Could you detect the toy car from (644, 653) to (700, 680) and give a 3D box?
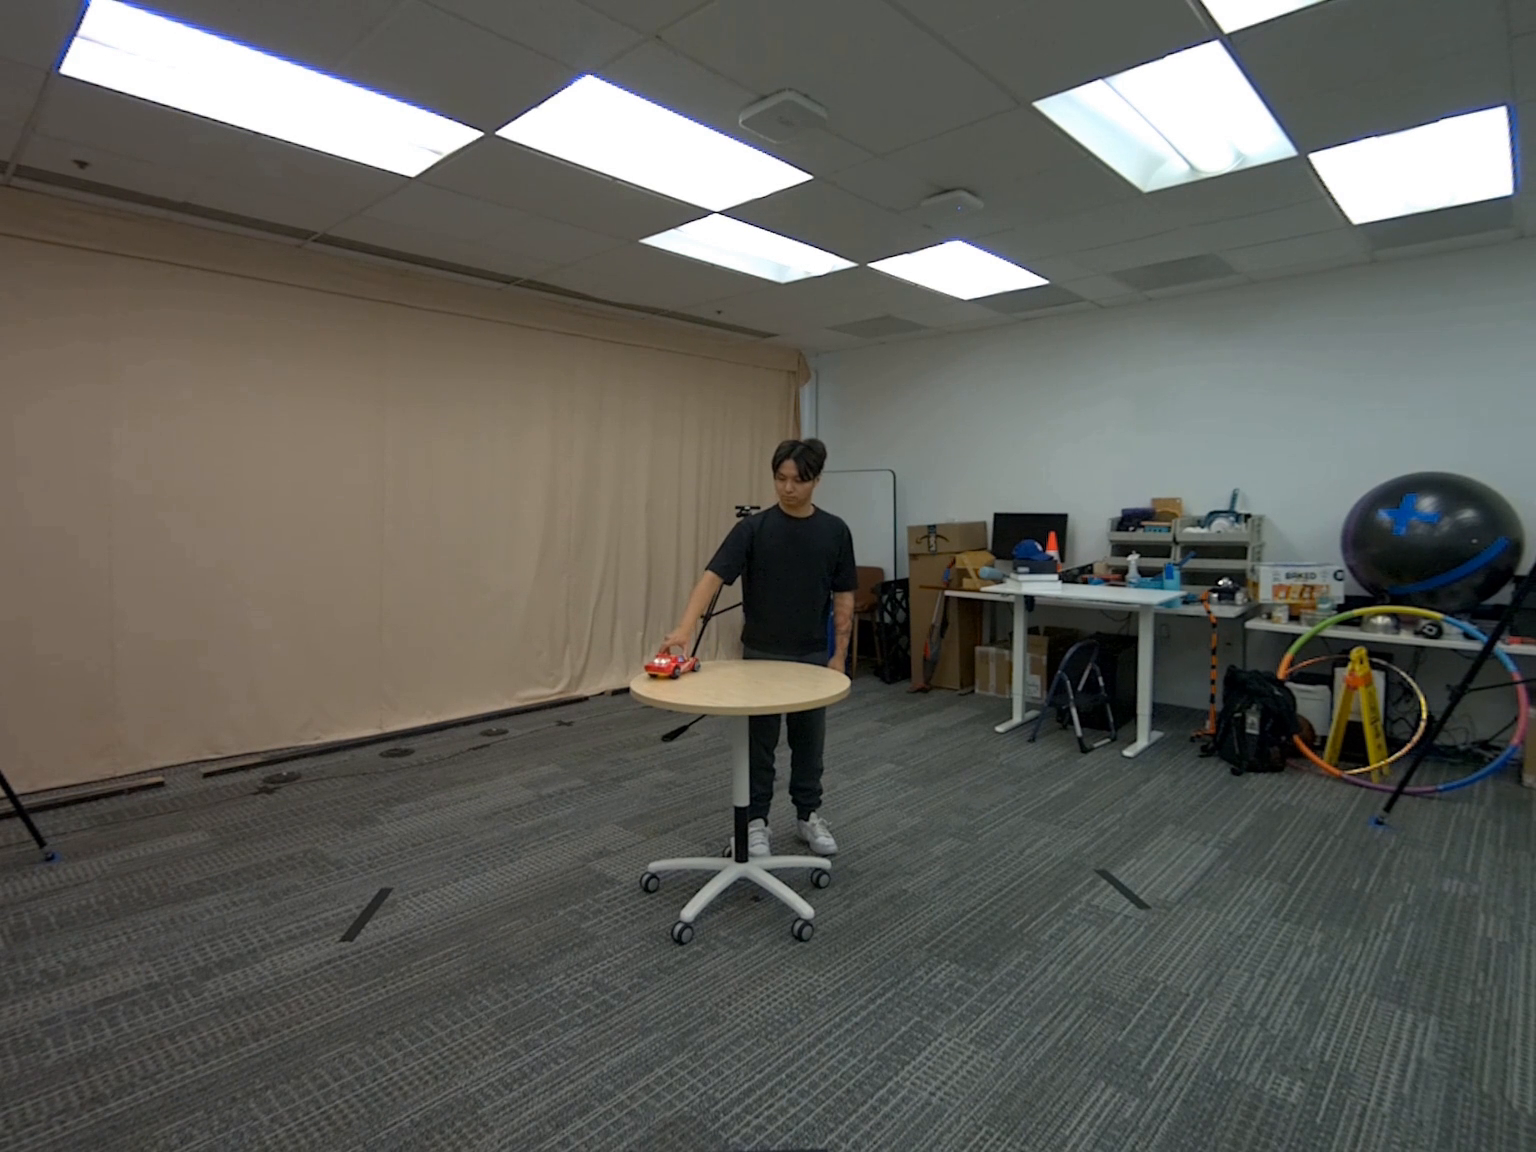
[{"bbox_3d":[-0.351,0.330,3.045,0.134,0.083,0.247,2,-7,27],"label":"toy car"}]
